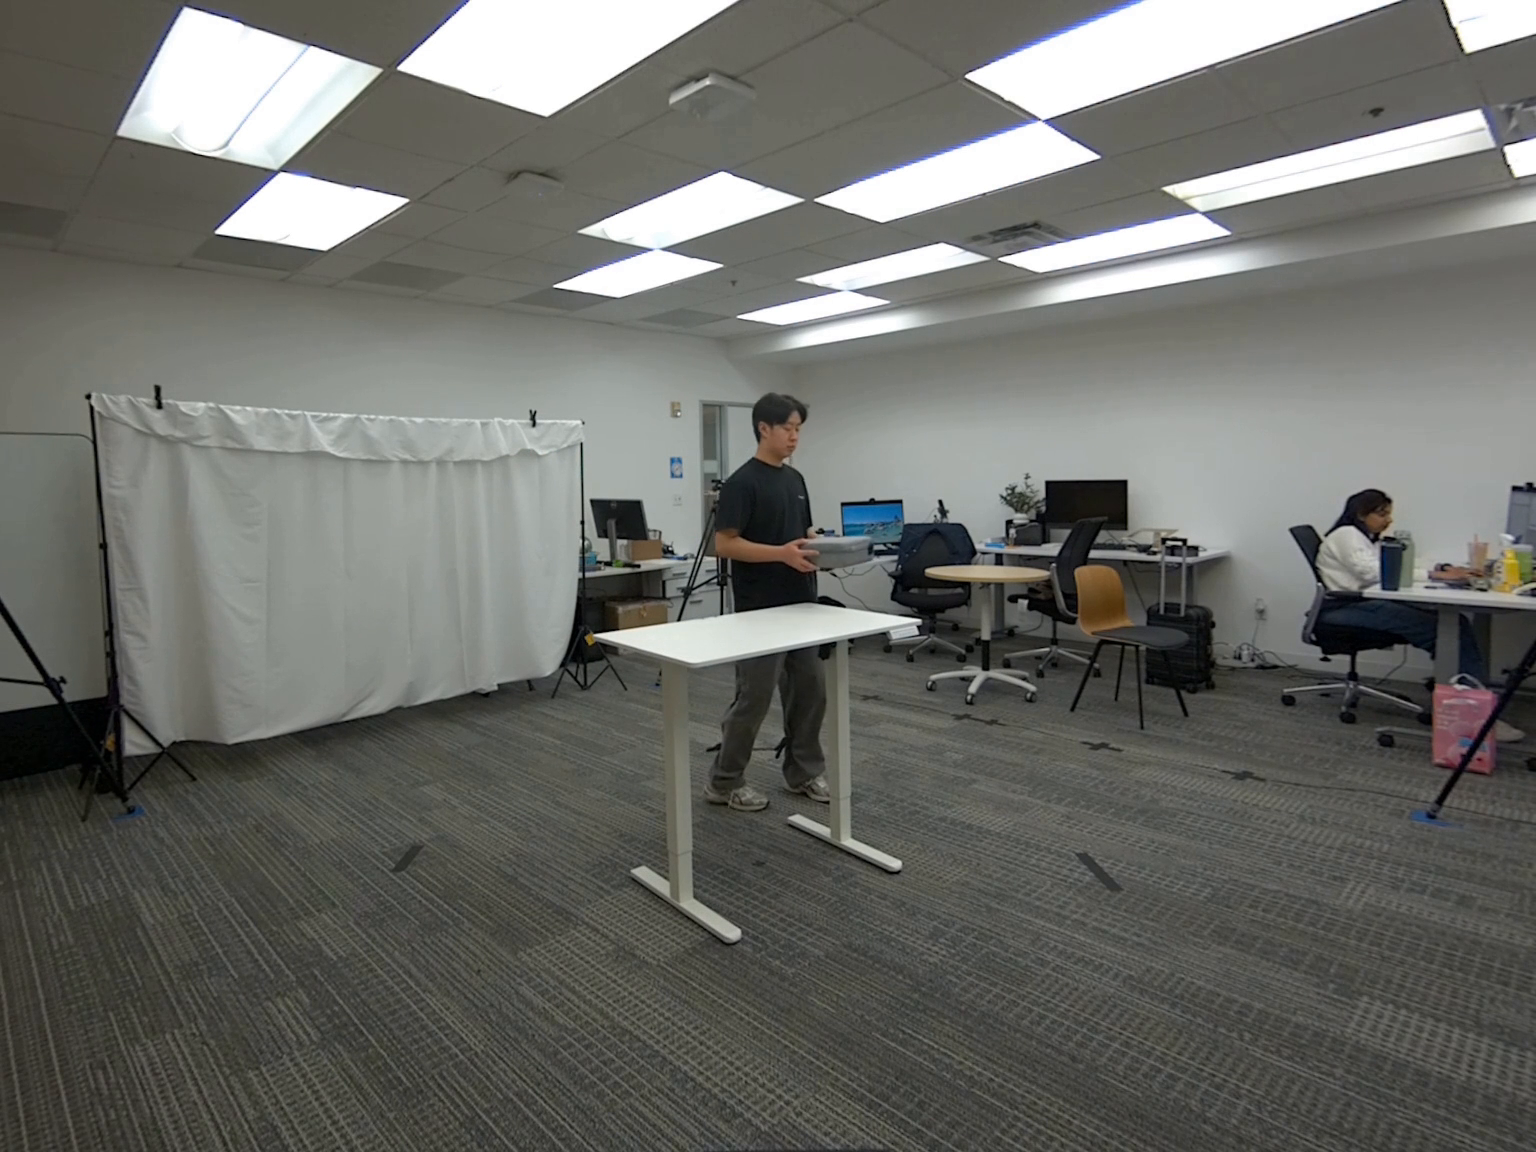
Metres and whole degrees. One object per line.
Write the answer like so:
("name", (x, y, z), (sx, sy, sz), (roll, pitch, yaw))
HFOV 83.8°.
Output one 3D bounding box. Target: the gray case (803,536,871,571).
("gray case", (0.262, -0.092, 3.461), (0.268, 0.102, 0.283), (-3, 6, 22))
